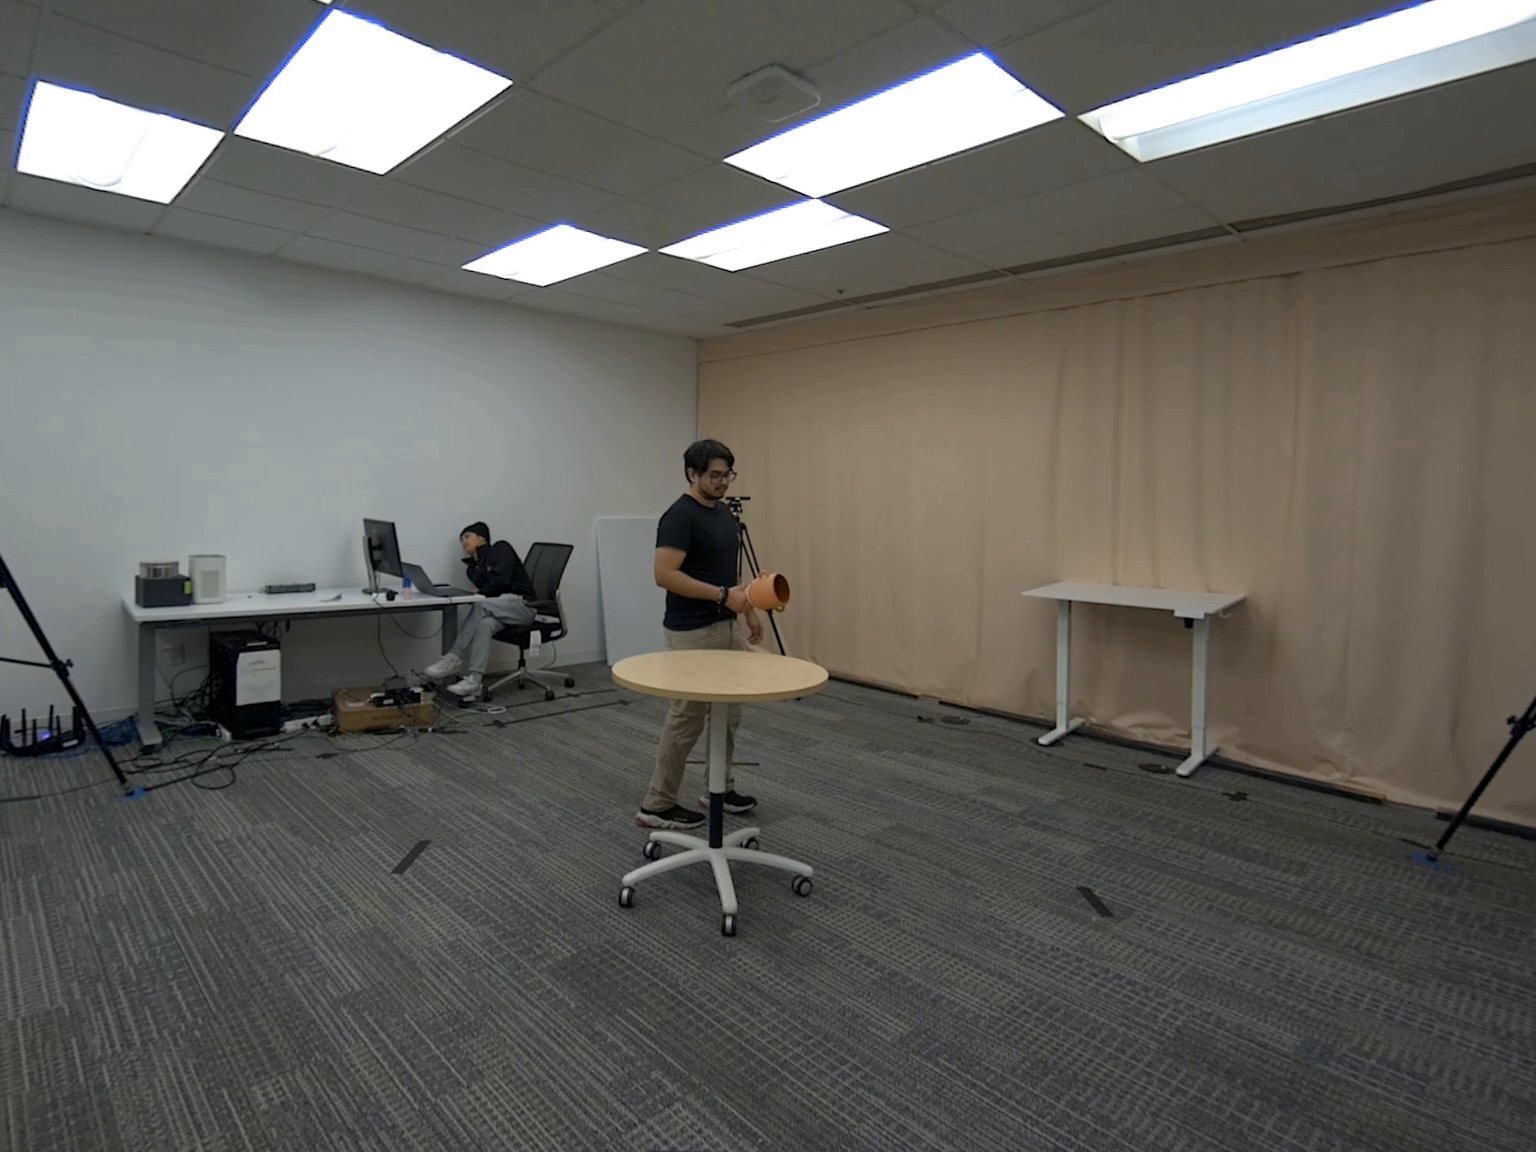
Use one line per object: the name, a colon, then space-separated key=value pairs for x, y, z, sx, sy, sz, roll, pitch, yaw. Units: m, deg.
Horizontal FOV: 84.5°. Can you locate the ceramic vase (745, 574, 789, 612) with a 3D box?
ceramic vase: x=-0.047 y=0.071 z=3.430 sx=0.223 sy=0.161 sz=0.131 roll=-15 pitch=-17 yaw=32
